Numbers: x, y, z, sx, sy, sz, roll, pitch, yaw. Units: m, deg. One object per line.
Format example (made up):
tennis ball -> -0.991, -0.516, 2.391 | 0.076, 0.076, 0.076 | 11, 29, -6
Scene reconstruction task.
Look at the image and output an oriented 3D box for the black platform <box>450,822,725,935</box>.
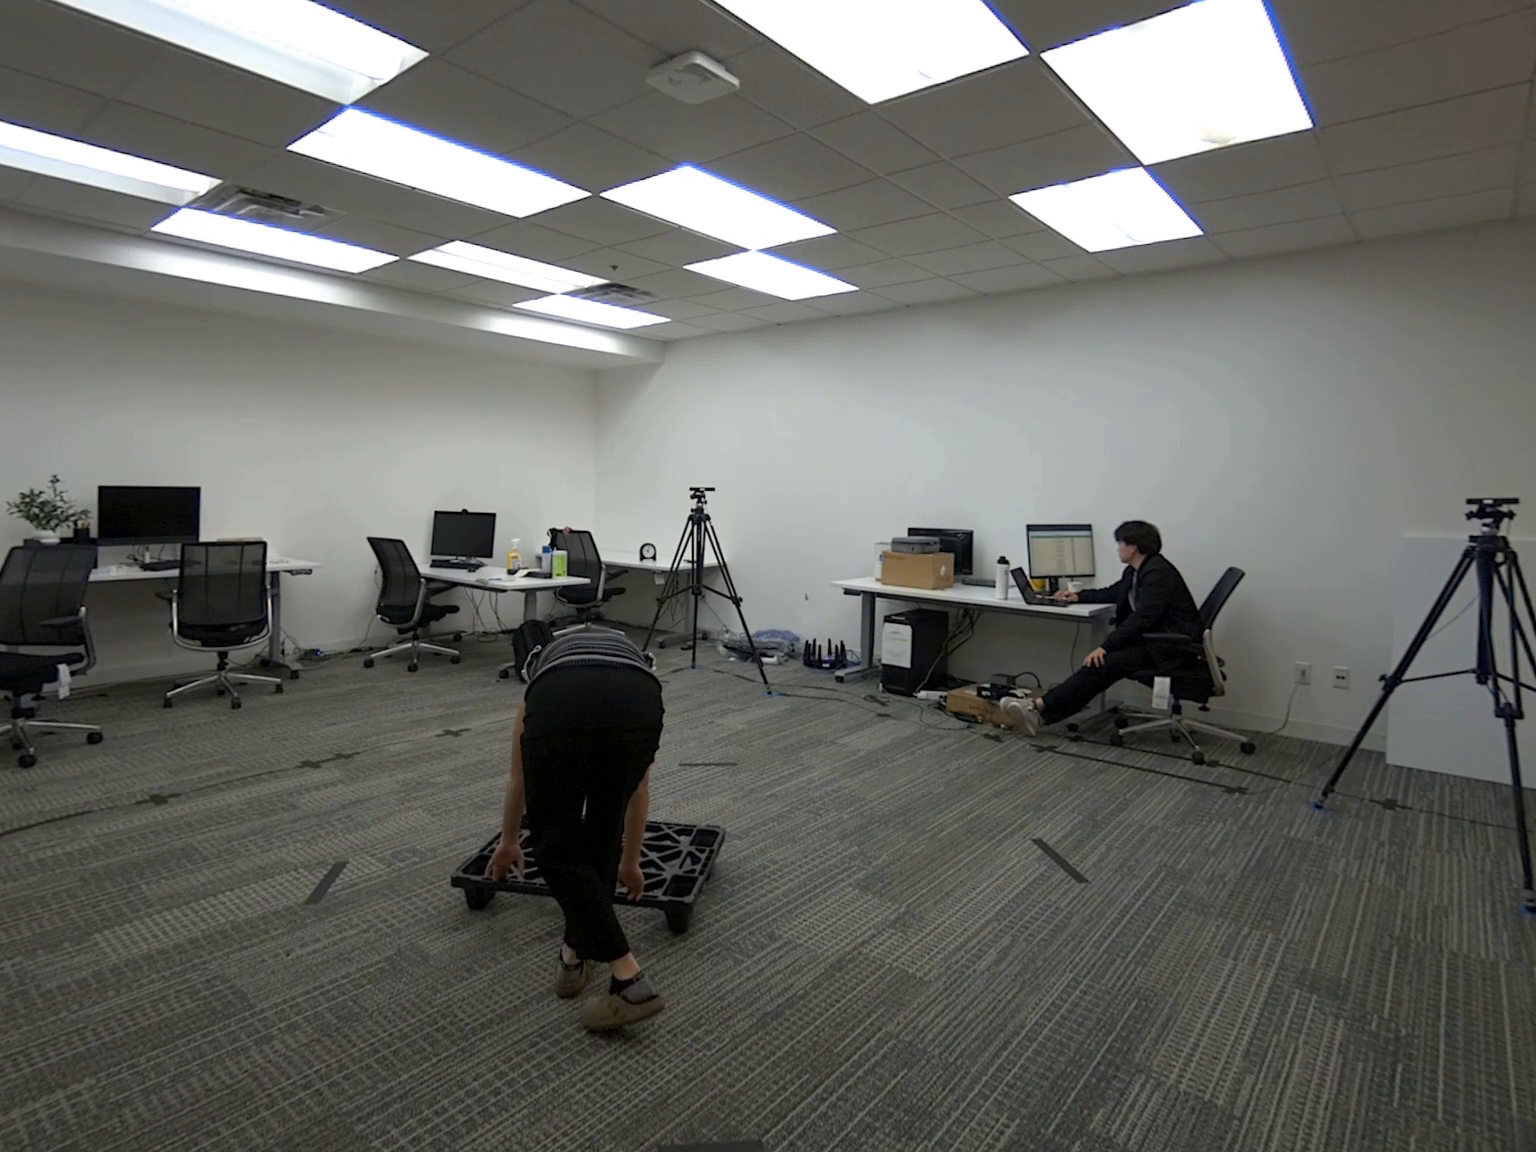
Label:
black platform -> -0.597, 1.004, 2.943 | 0.814, 0.143, 0.601 | 2, 5, 9
